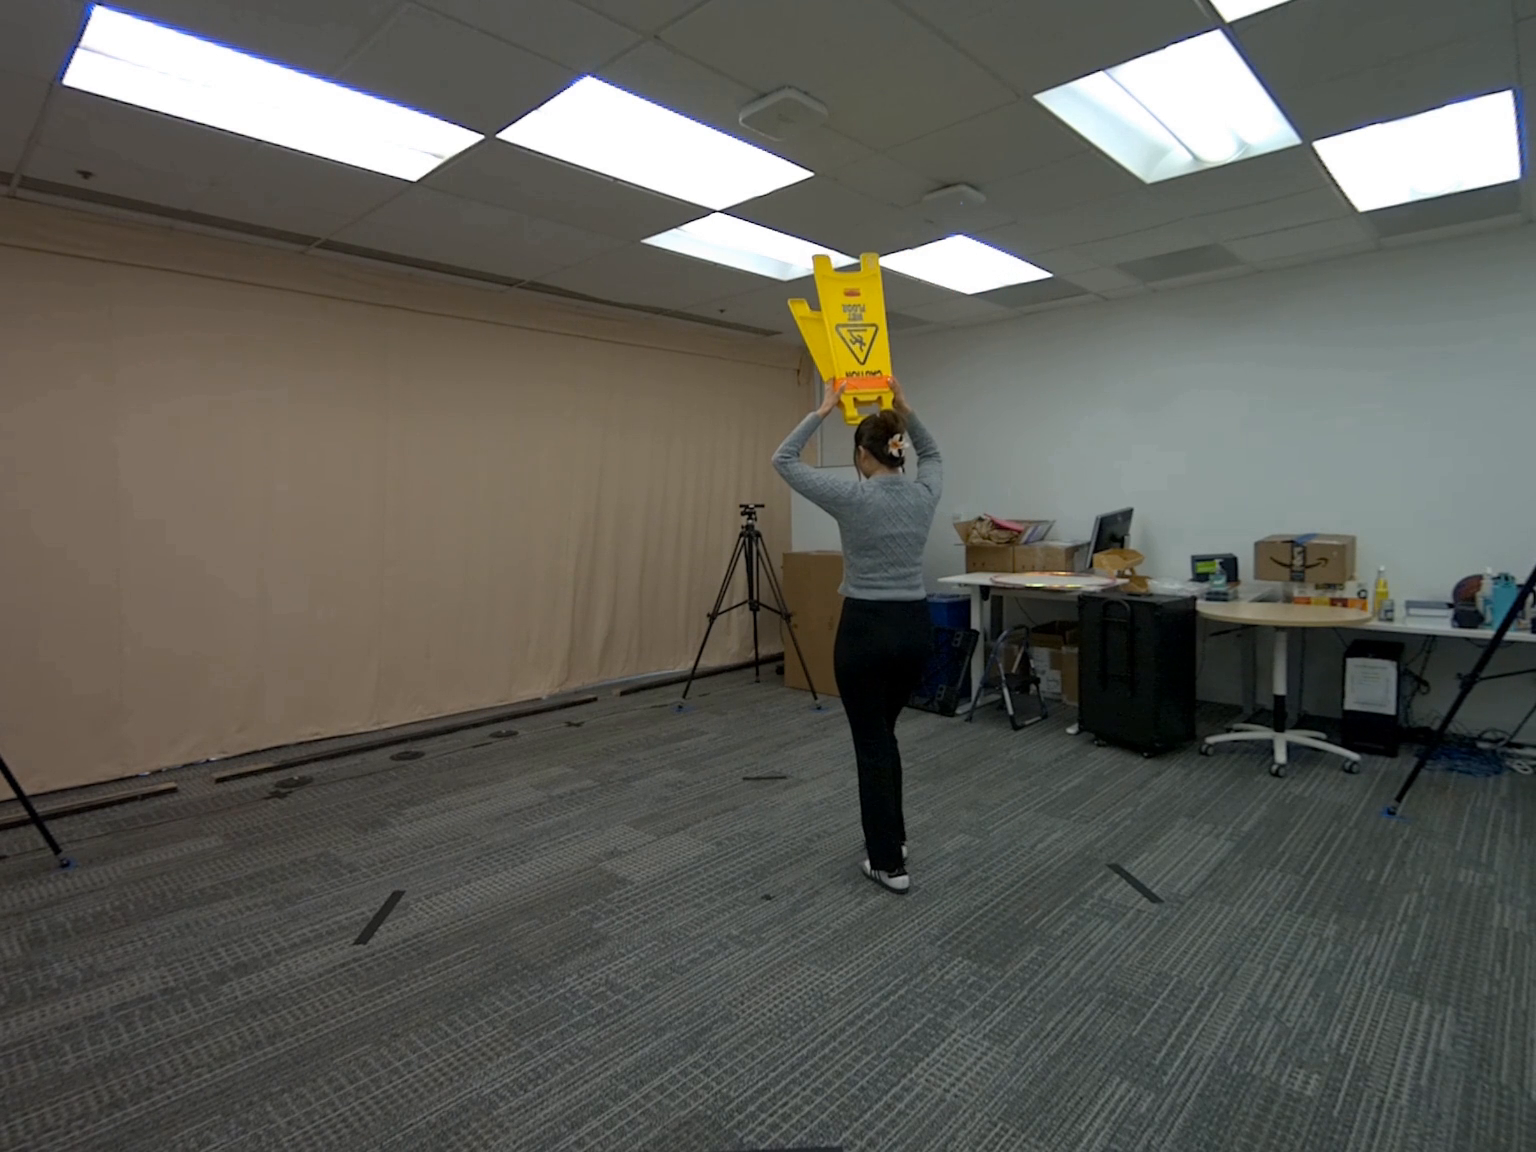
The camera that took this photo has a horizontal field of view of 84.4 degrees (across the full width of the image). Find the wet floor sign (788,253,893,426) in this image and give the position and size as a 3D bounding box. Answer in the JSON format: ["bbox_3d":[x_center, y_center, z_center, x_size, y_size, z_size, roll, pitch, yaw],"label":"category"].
[{"bbox_3d":[0.327,-0.872,3.225,0.278,0.655,0.290,-6,-19,-17],"label":"wet floor sign"}]
